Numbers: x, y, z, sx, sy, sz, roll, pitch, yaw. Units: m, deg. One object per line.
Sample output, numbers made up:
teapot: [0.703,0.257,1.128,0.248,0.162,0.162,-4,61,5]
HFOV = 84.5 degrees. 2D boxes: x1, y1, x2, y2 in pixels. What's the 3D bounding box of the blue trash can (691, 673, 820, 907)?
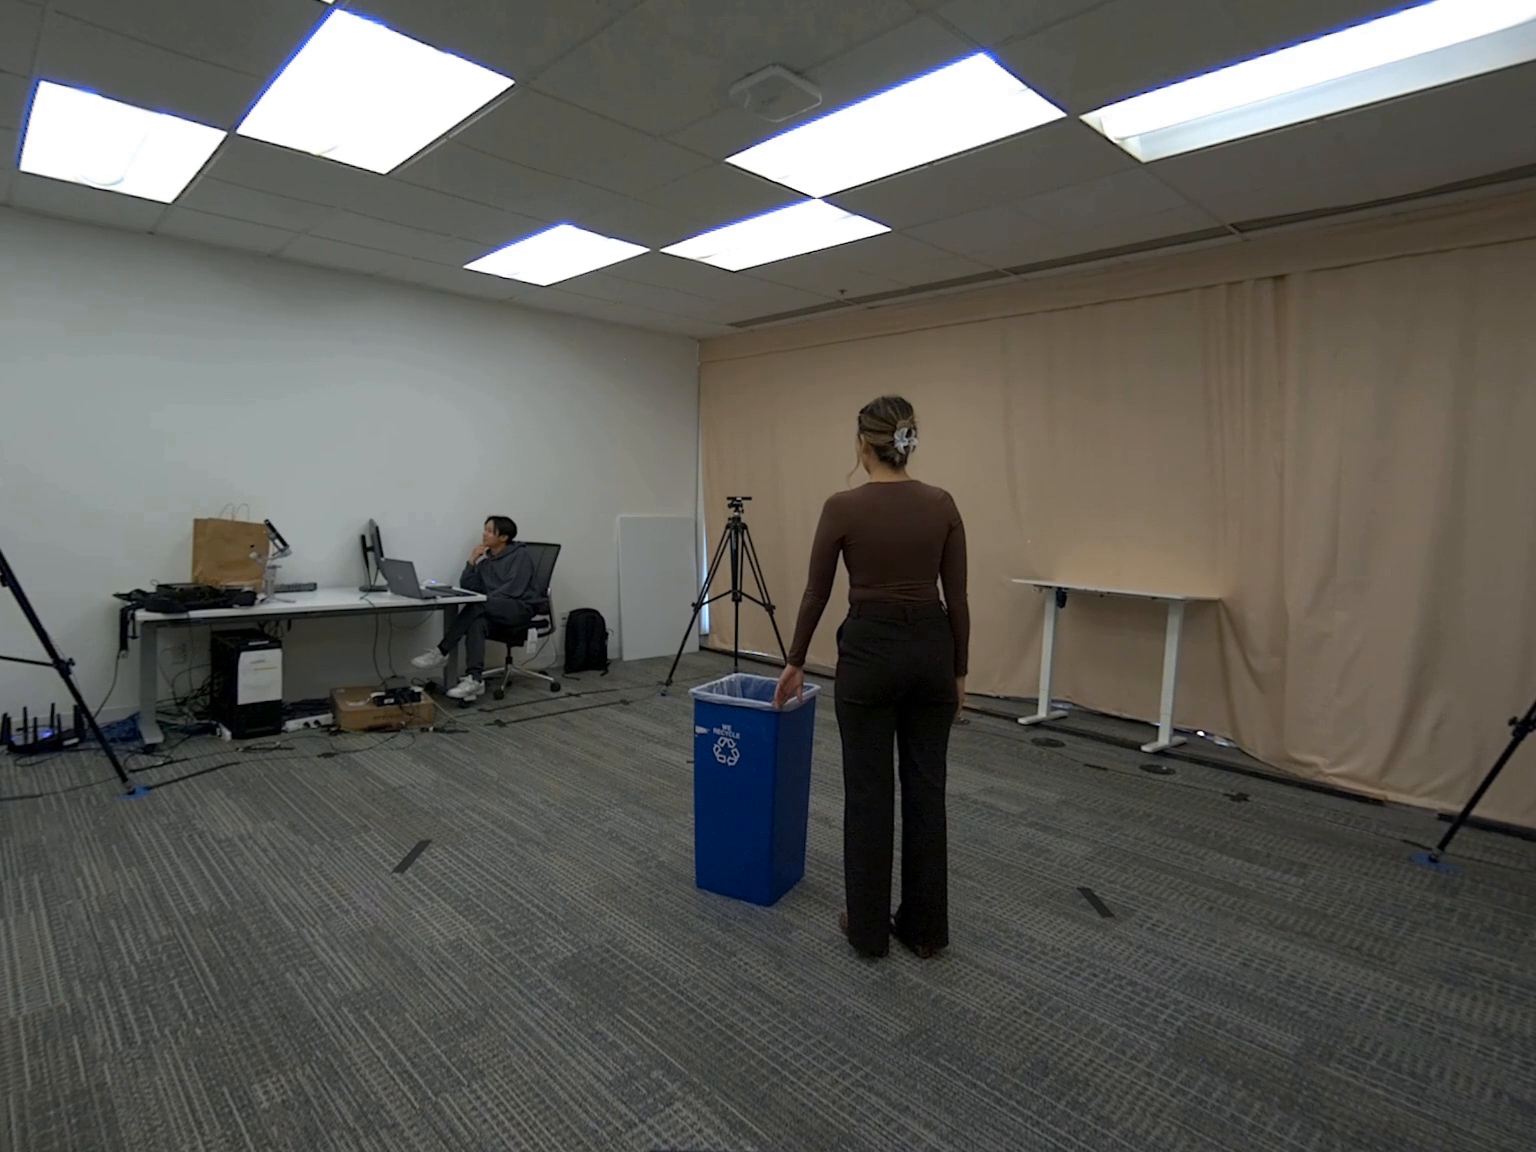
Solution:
blue trash can: [-0.054,0.755,3.045,0.382,0.712,0.371,3,4,28]
